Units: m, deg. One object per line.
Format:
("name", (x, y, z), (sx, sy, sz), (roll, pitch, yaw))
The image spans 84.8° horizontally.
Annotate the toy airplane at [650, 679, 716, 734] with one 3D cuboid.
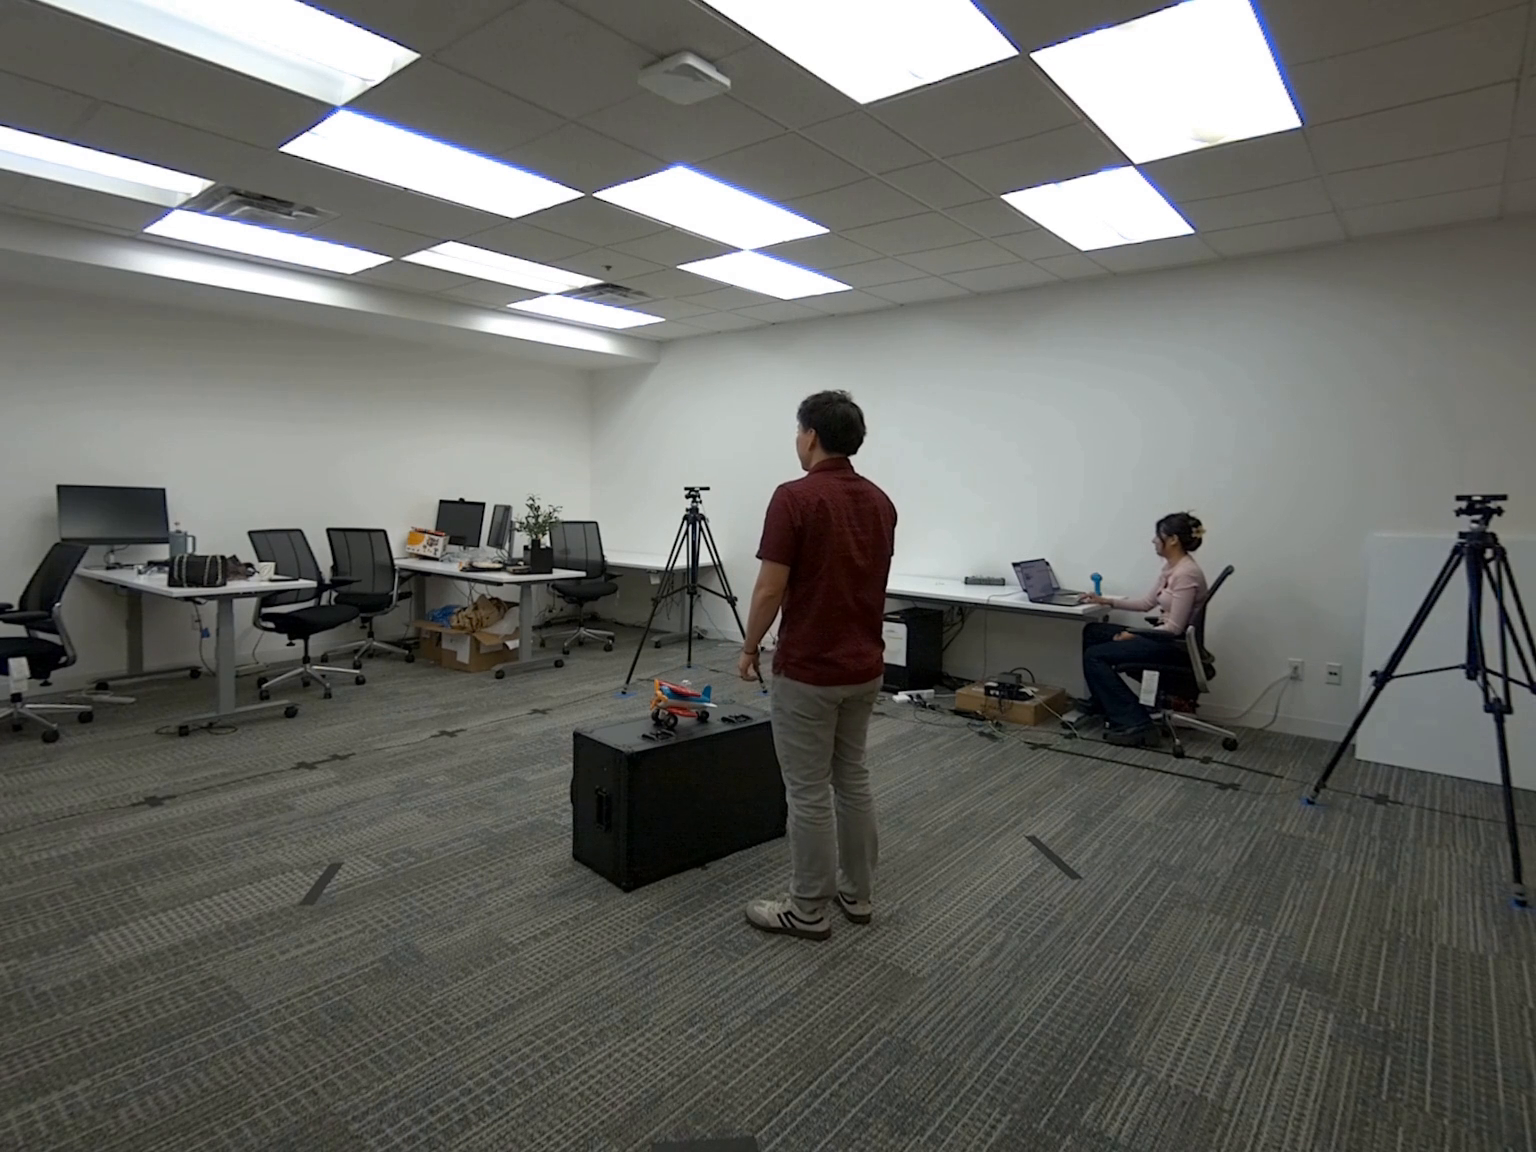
("toy airplane", (-0.354, 0.484, 3.305), (0.258, 0.155, 0.254), (3, 7, 25))
